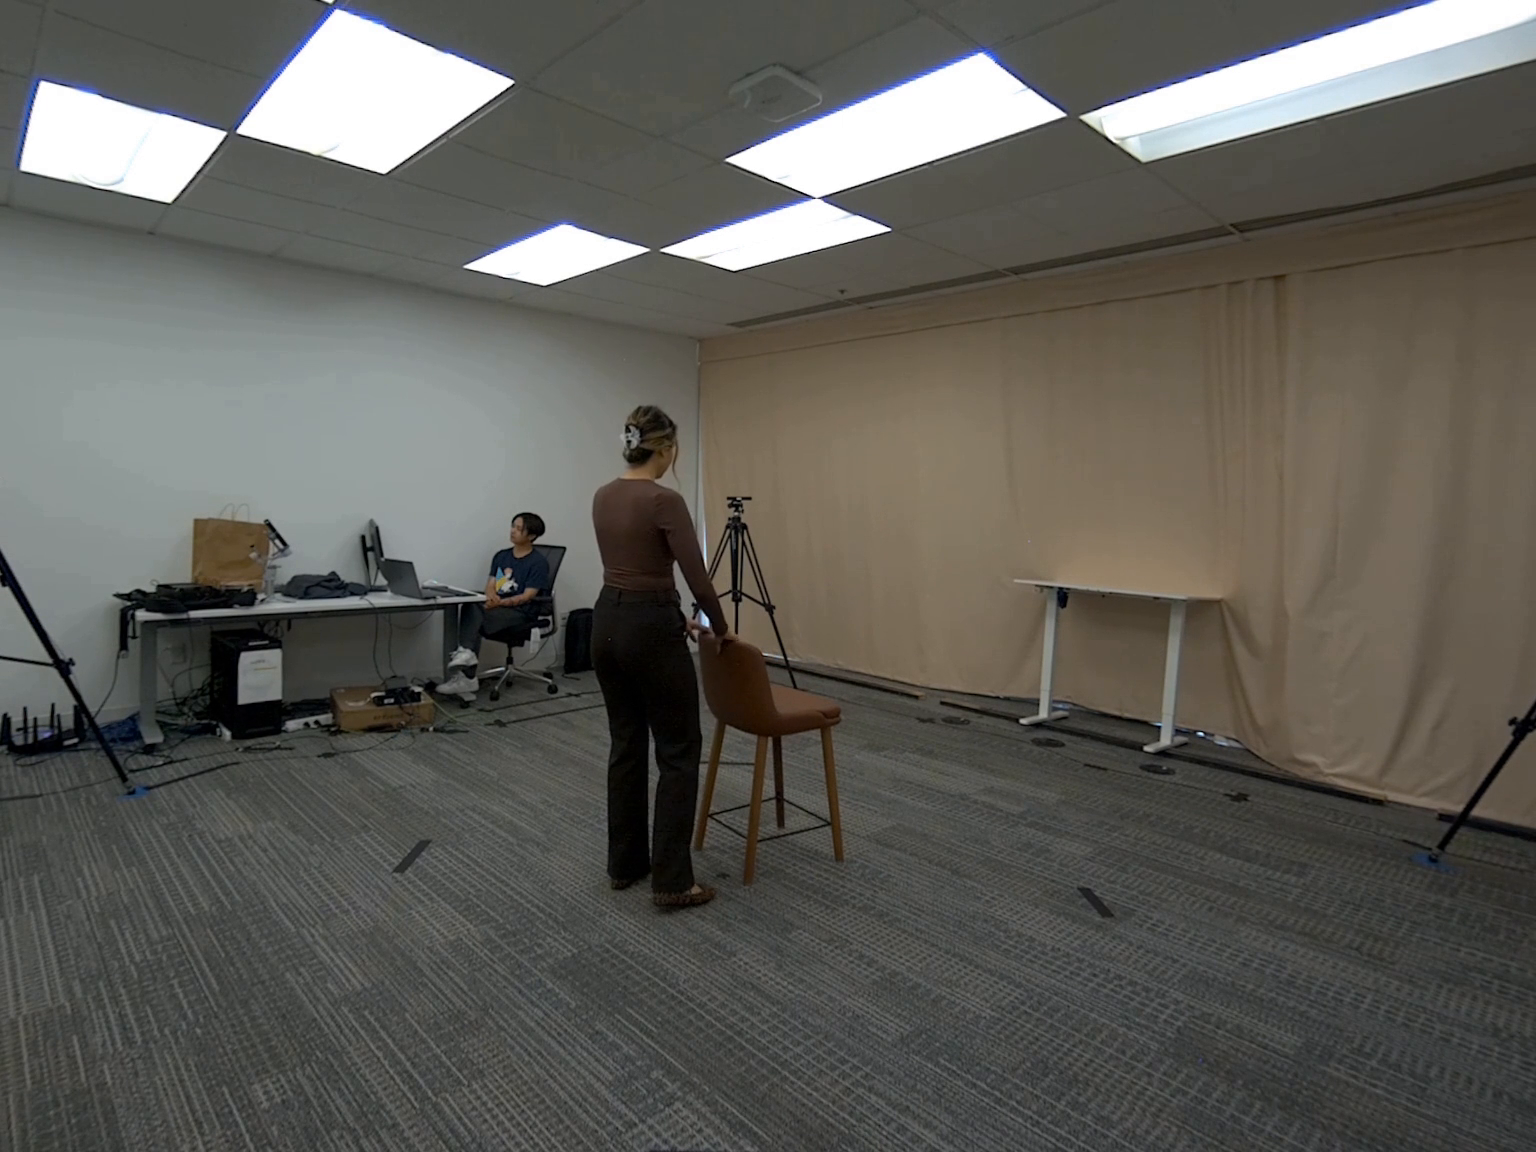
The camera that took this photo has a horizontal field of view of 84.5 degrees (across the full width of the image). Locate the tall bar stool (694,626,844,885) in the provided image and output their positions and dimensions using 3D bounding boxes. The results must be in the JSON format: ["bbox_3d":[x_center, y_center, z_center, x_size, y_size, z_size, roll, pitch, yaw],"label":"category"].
[{"bbox_3d":[-0.011,0.655,3.276,0.458,0.887,0.467,-3,5,-34],"label":"tall bar stool"}]
